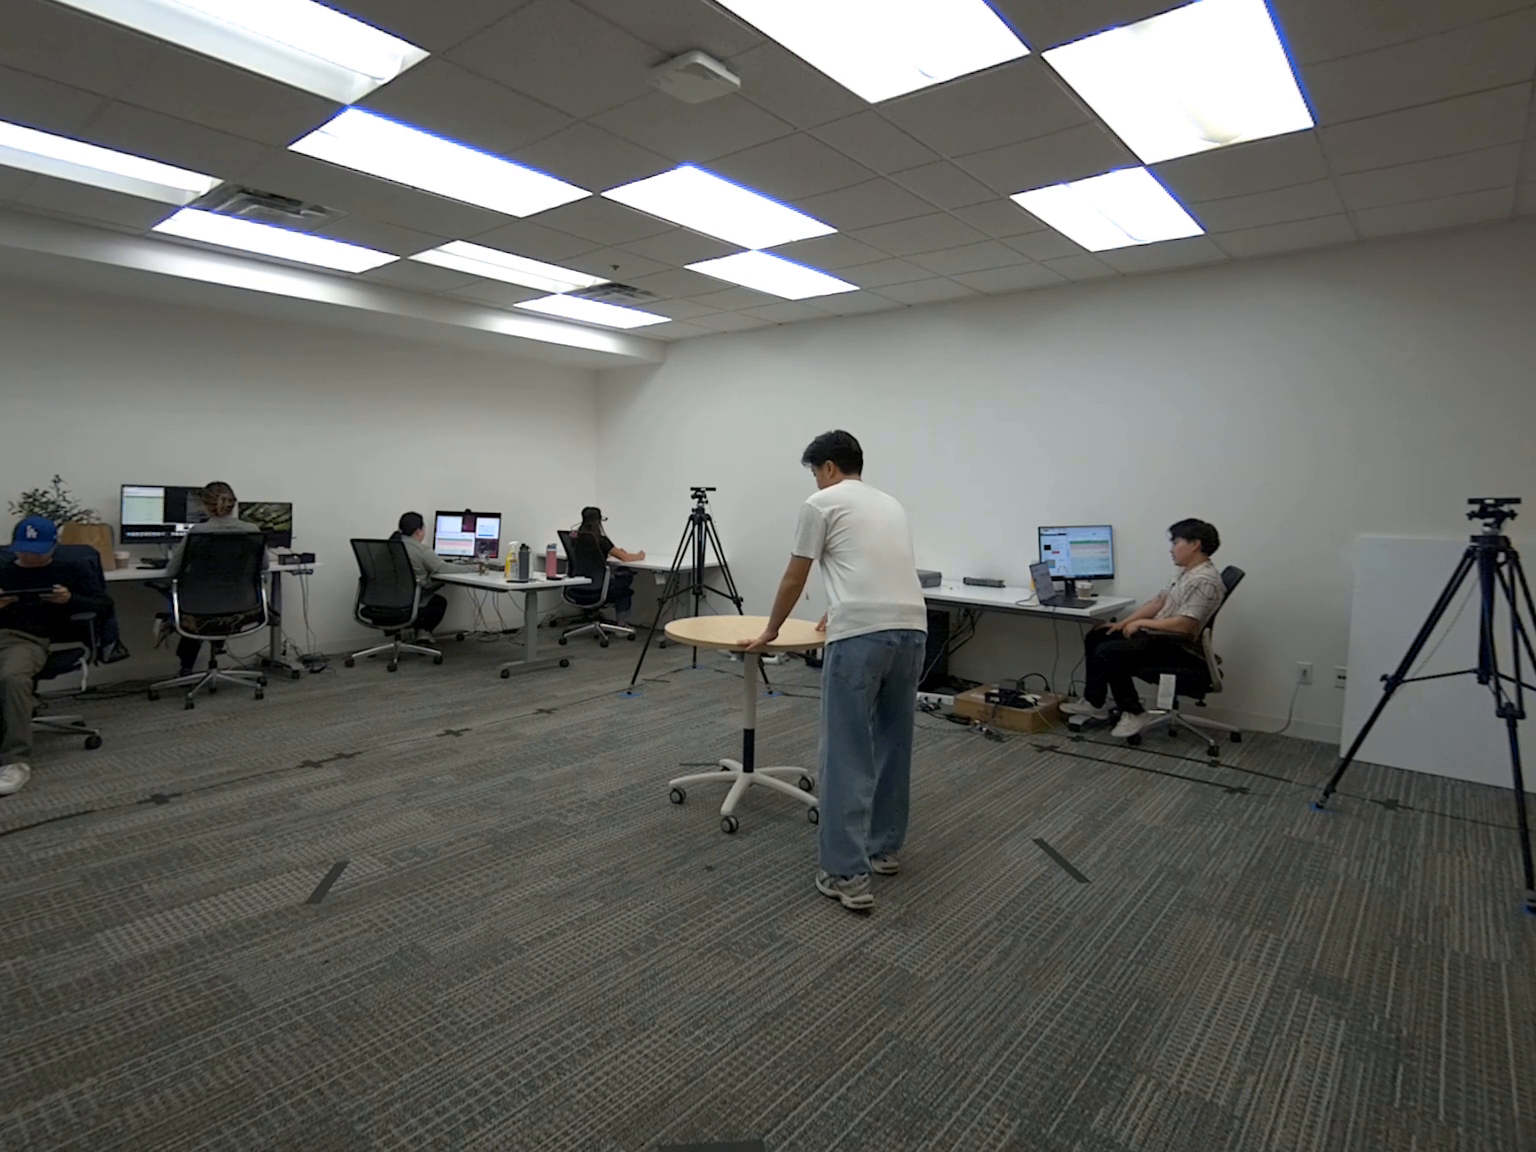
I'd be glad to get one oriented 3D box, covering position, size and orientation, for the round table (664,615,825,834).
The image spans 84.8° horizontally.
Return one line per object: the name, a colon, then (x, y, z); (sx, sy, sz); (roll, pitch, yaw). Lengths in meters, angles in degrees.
round table: (-0.083, 0.620, 3.747); (0.763, 0.791, 0.768); (1, 4, -2)
